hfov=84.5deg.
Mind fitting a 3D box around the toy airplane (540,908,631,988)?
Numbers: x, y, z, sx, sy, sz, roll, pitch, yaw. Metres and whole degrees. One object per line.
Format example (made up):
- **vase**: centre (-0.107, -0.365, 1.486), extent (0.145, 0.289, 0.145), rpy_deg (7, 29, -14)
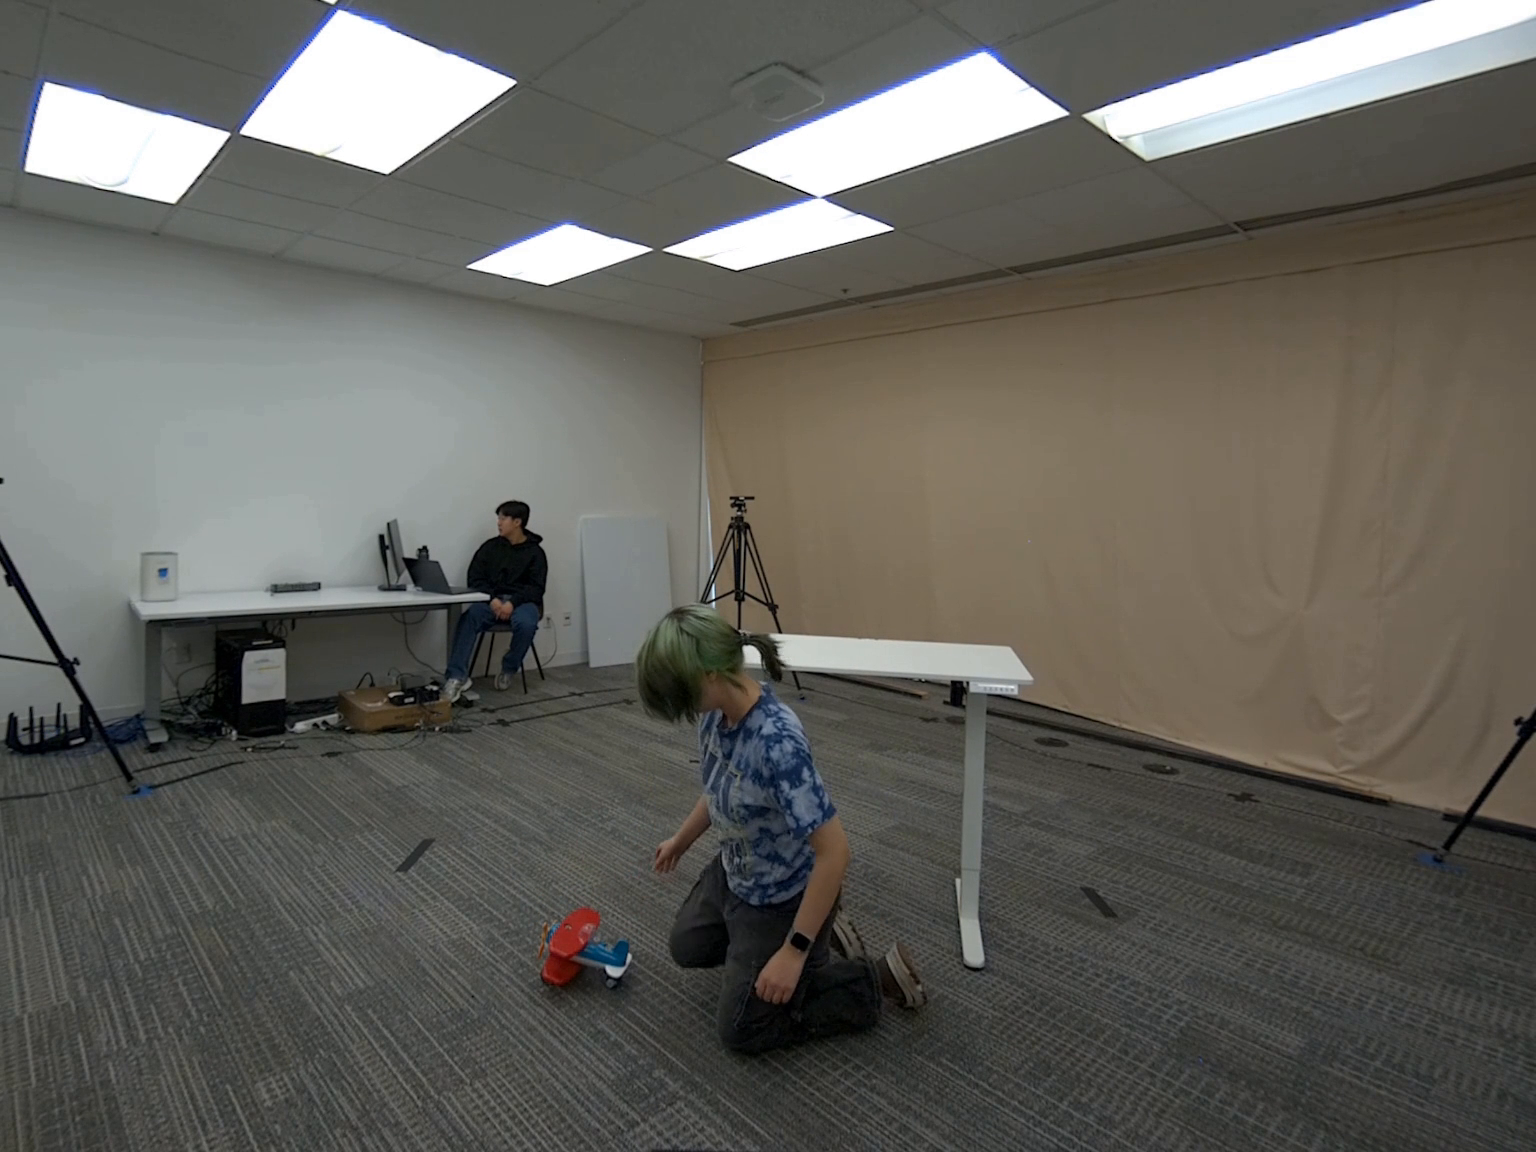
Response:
- **toy airplane**: centre (-0.528, 1.084, 2.428), extent (0.256, 0.156, 0.255), rpy_deg (-1, 5, -17)
